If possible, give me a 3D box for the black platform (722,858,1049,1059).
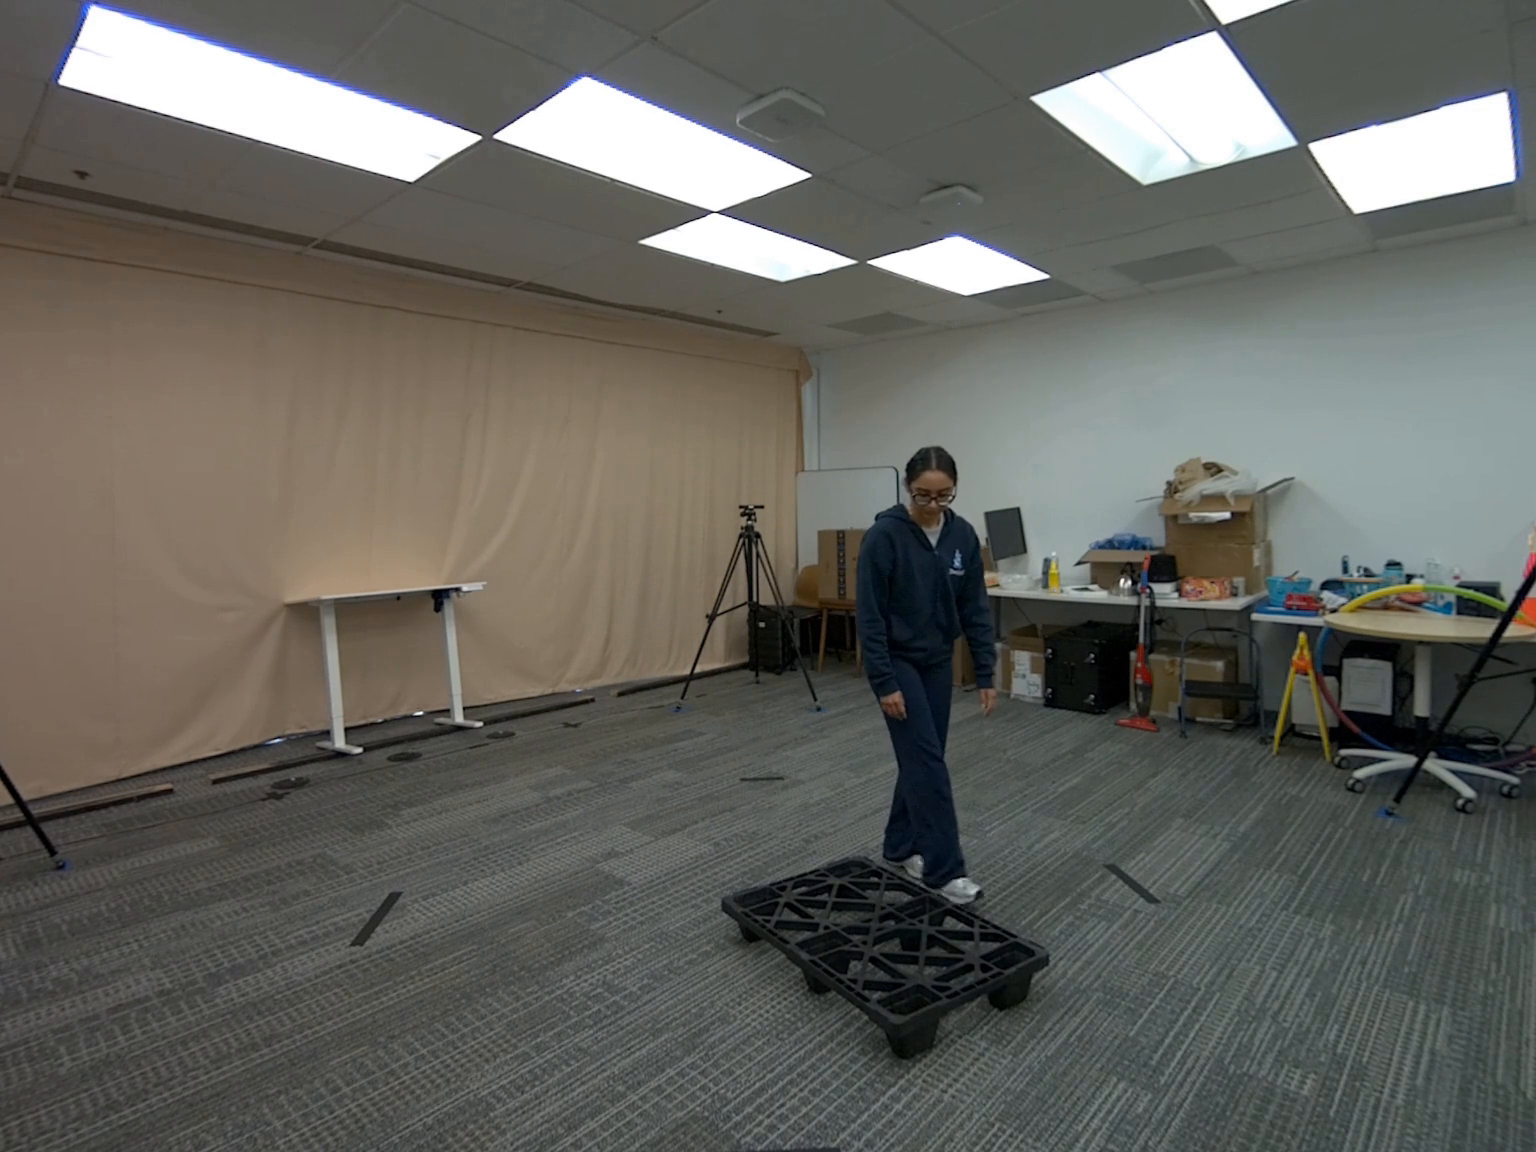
[{"bbox_3d":[0.320,1.108,2.530,0.588,0.143,0.831,-4,6,-34],"label":"black platform"}]
